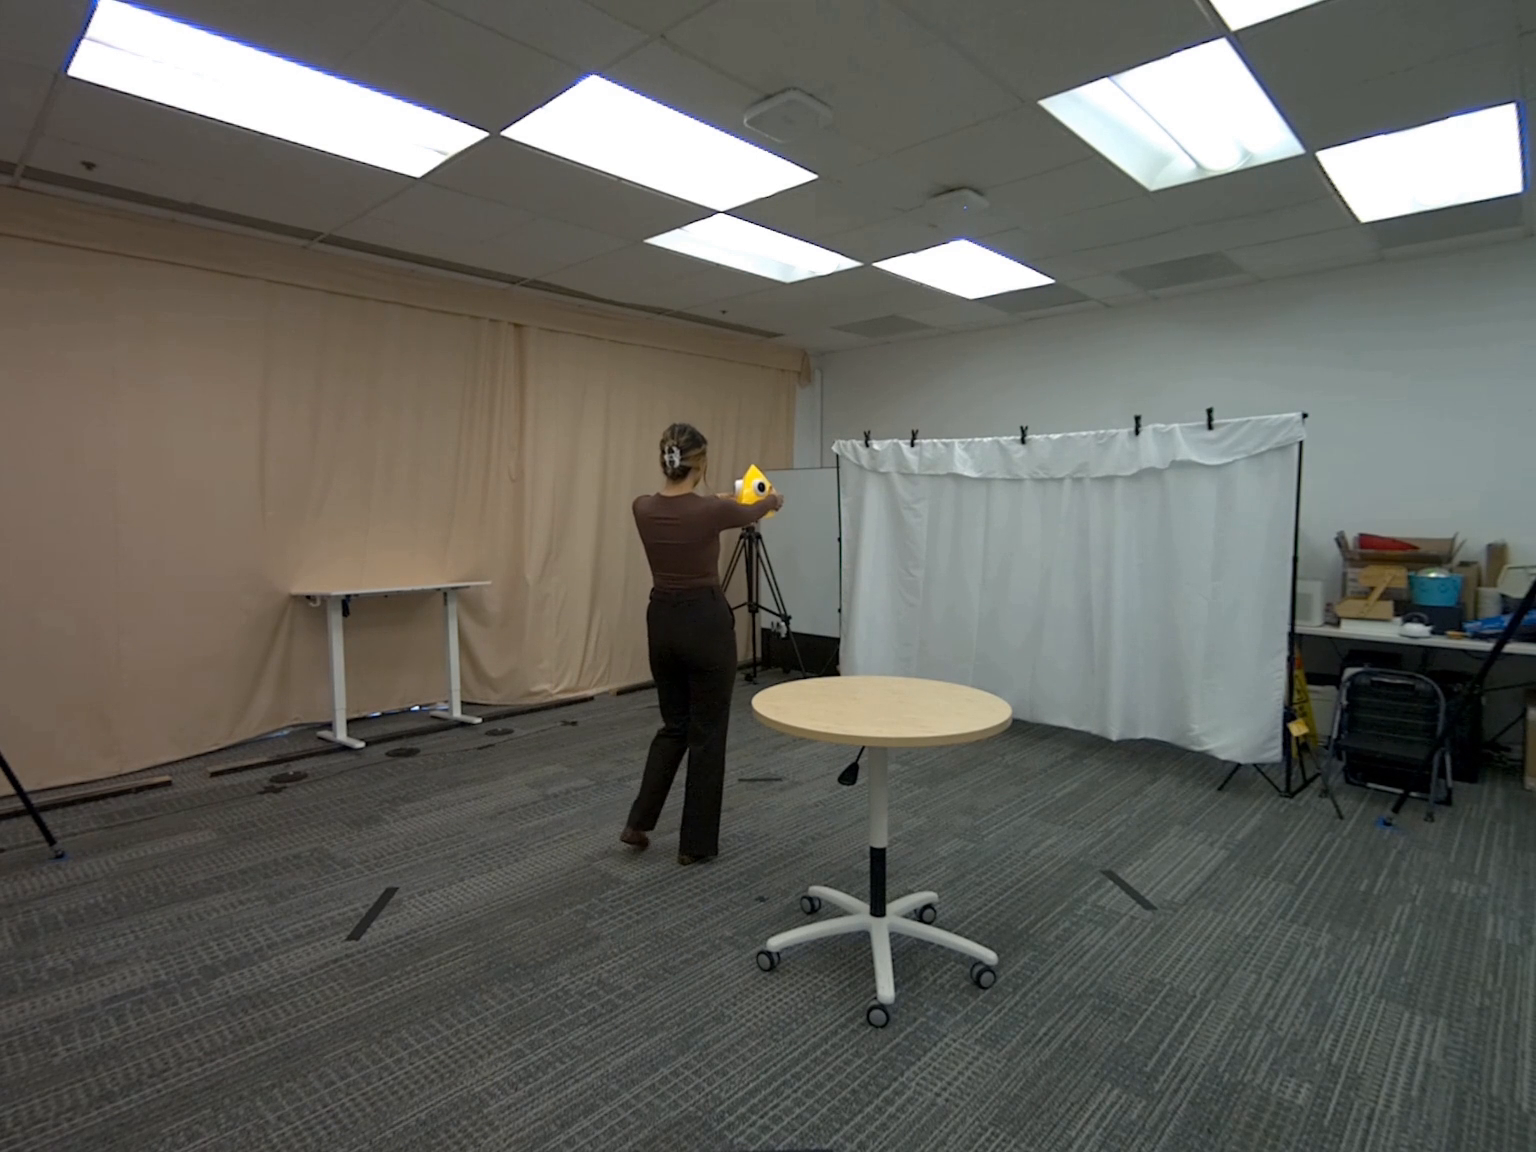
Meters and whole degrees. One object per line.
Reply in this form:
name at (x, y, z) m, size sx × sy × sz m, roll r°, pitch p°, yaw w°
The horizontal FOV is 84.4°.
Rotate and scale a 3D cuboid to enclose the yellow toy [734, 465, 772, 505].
yellow toy at (-0.084, -0.380, 3.758) m, size 0.210 × 0.229 × 0.189 m, roll 0°, pitch 9°, yaw 24°
